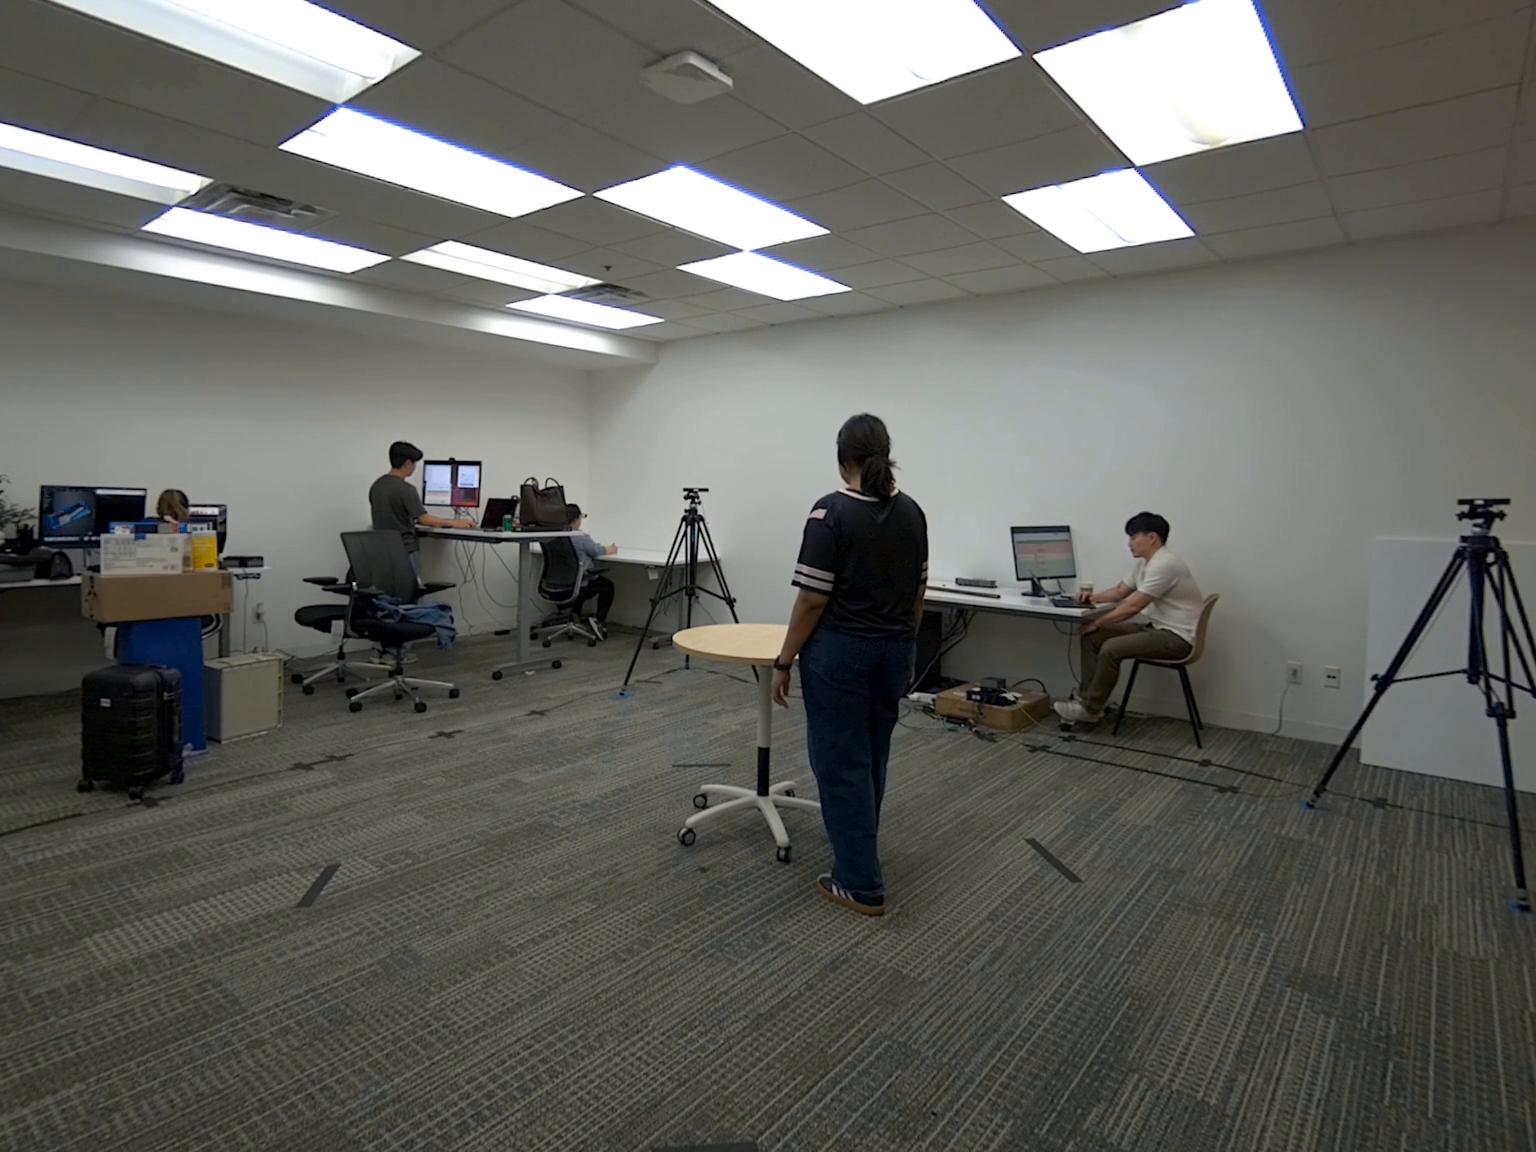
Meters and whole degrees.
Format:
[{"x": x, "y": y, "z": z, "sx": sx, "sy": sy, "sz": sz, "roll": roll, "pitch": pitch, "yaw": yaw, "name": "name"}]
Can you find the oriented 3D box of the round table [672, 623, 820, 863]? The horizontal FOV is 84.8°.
[{"x": -0.032, "y": 0.648, "z": 3.490, "sx": 0.763, "sy": 0.791, "sz": 0.768, "roll": 1, "pitch": 4, "yaw": -2, "name": "round table"}]
